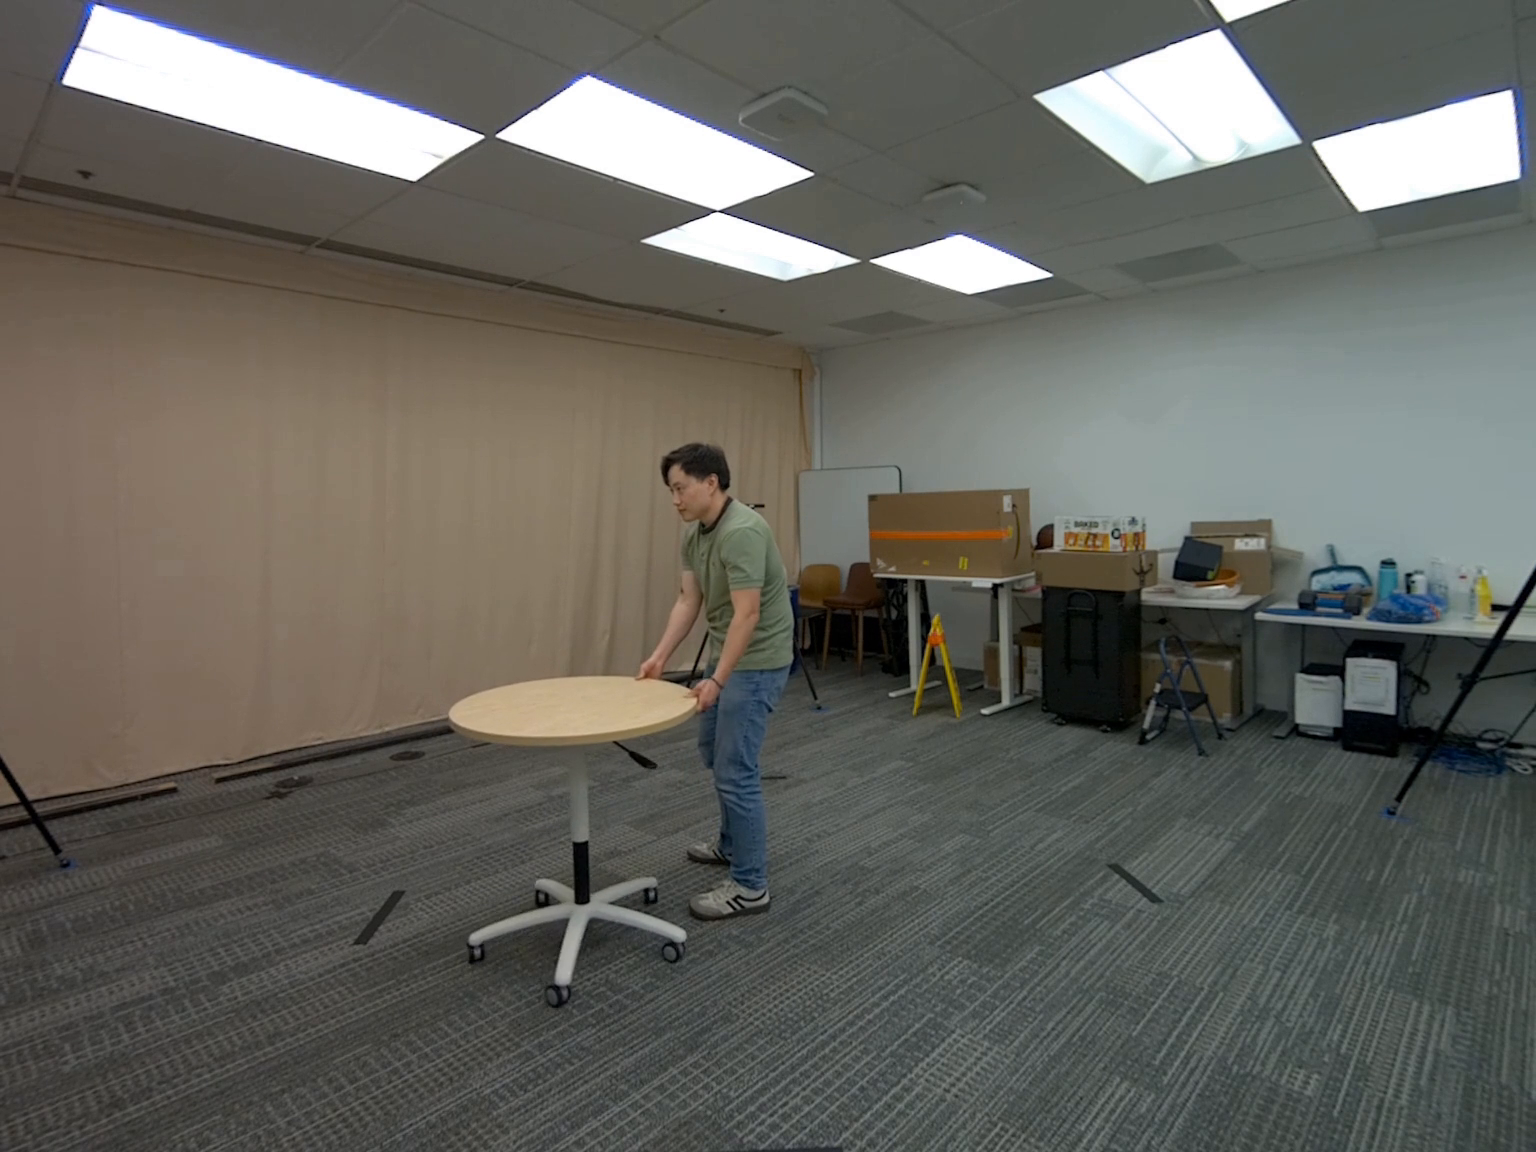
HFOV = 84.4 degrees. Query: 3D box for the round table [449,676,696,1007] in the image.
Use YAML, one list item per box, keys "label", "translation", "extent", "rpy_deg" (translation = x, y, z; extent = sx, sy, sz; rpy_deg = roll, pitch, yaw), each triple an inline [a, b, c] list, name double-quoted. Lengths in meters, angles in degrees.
- label: "round table"
  translation: [-0.585, 0.790, 2.673]
  extent: [0.763, 0.792, 0.767]
  rpy_deg: [-1, 4, -2]
